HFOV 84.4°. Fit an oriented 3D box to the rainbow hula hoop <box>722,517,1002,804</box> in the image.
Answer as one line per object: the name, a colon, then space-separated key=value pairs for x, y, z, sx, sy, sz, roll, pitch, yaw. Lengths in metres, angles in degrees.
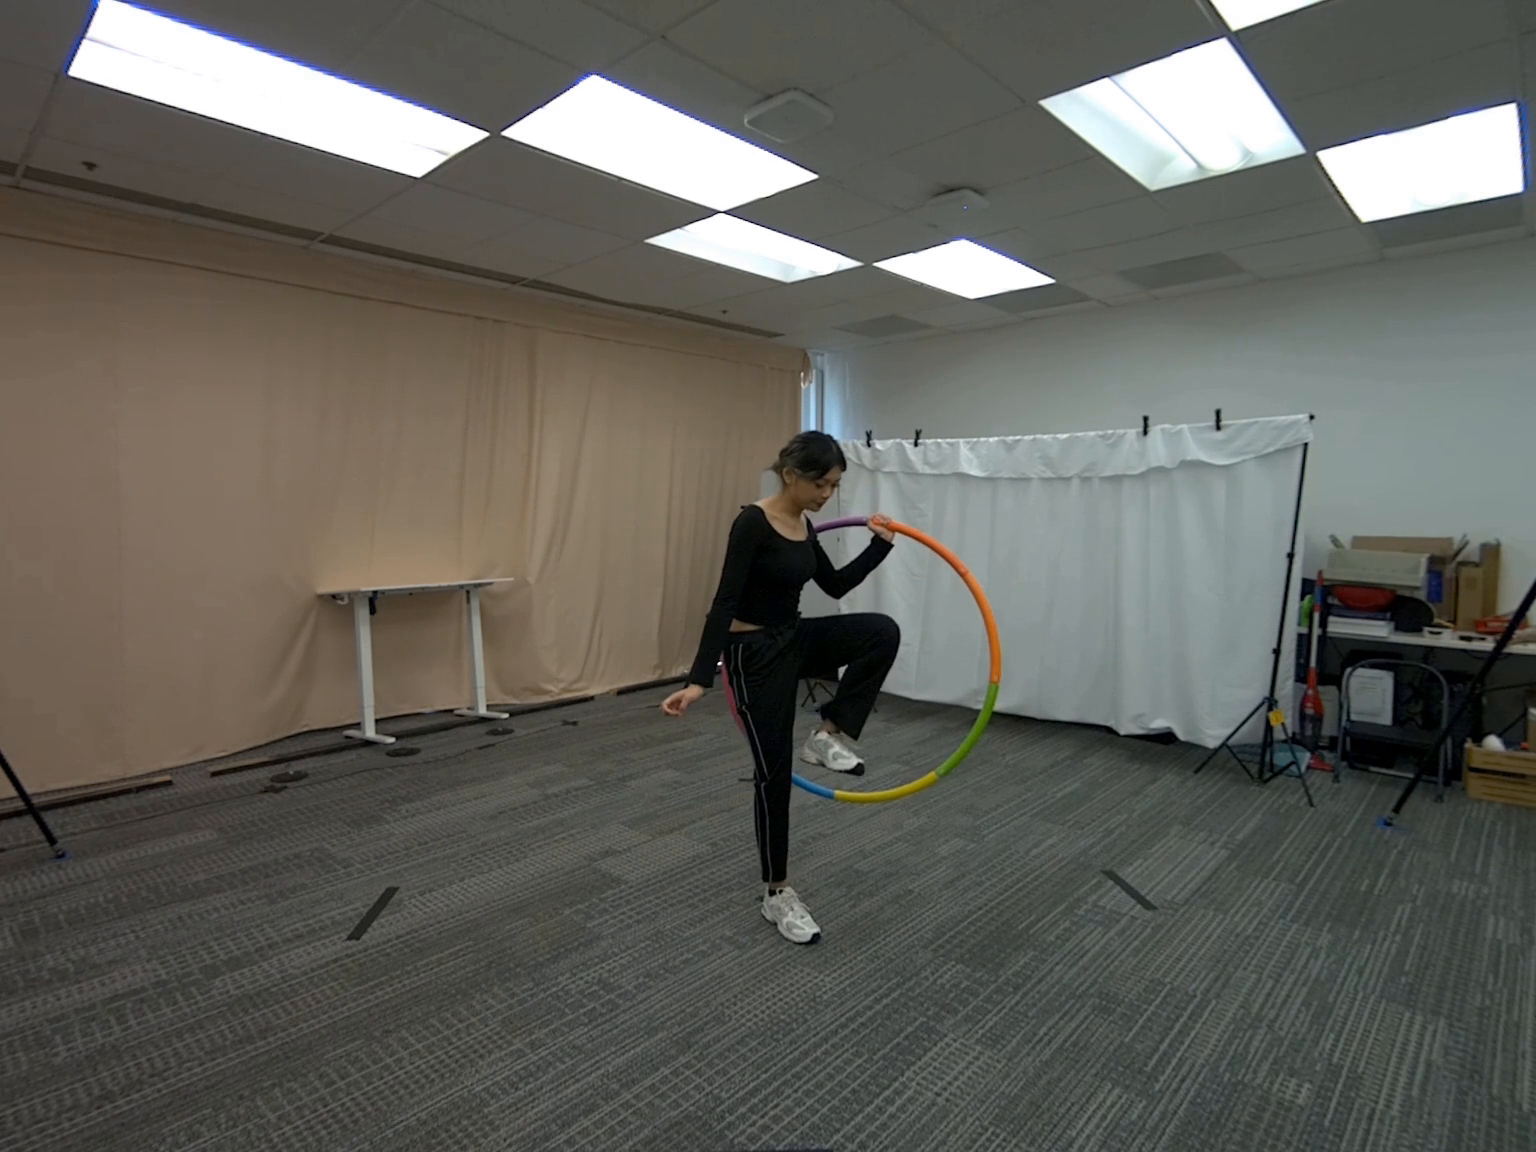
rainbow hula hoop: x=0.303 y=0.283 z=2.952 sx=0.998 sy=0.980 sz=0.035 roll=1 pitch=-3 yaw=19
